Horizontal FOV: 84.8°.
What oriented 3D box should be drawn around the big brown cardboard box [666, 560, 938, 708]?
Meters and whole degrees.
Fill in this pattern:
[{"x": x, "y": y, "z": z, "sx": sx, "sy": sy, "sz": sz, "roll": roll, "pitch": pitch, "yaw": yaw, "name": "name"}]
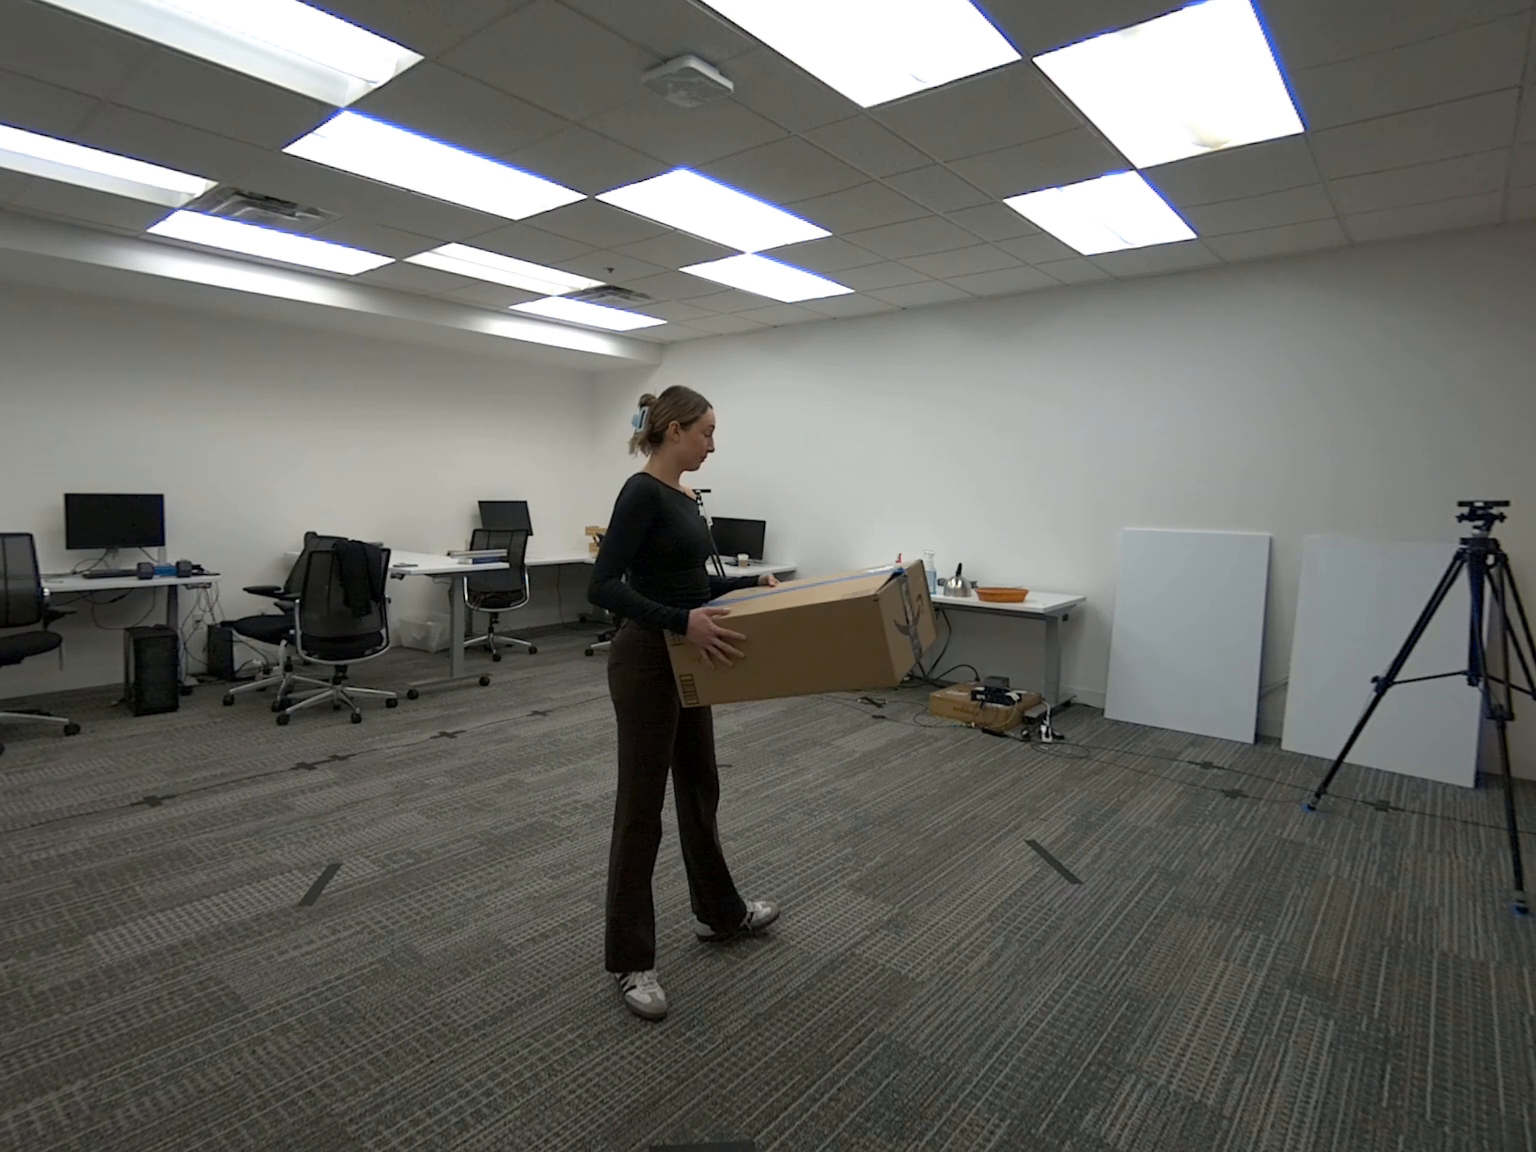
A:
[{"x": 0.092, "y": 0.138, "z": 2.185, "sx": 0.601, "sy": 0.232, "sz": 0.411, "roll": -11, "pitch": 7, "yaw": 26, "name": "big brown cardboard box"}]
